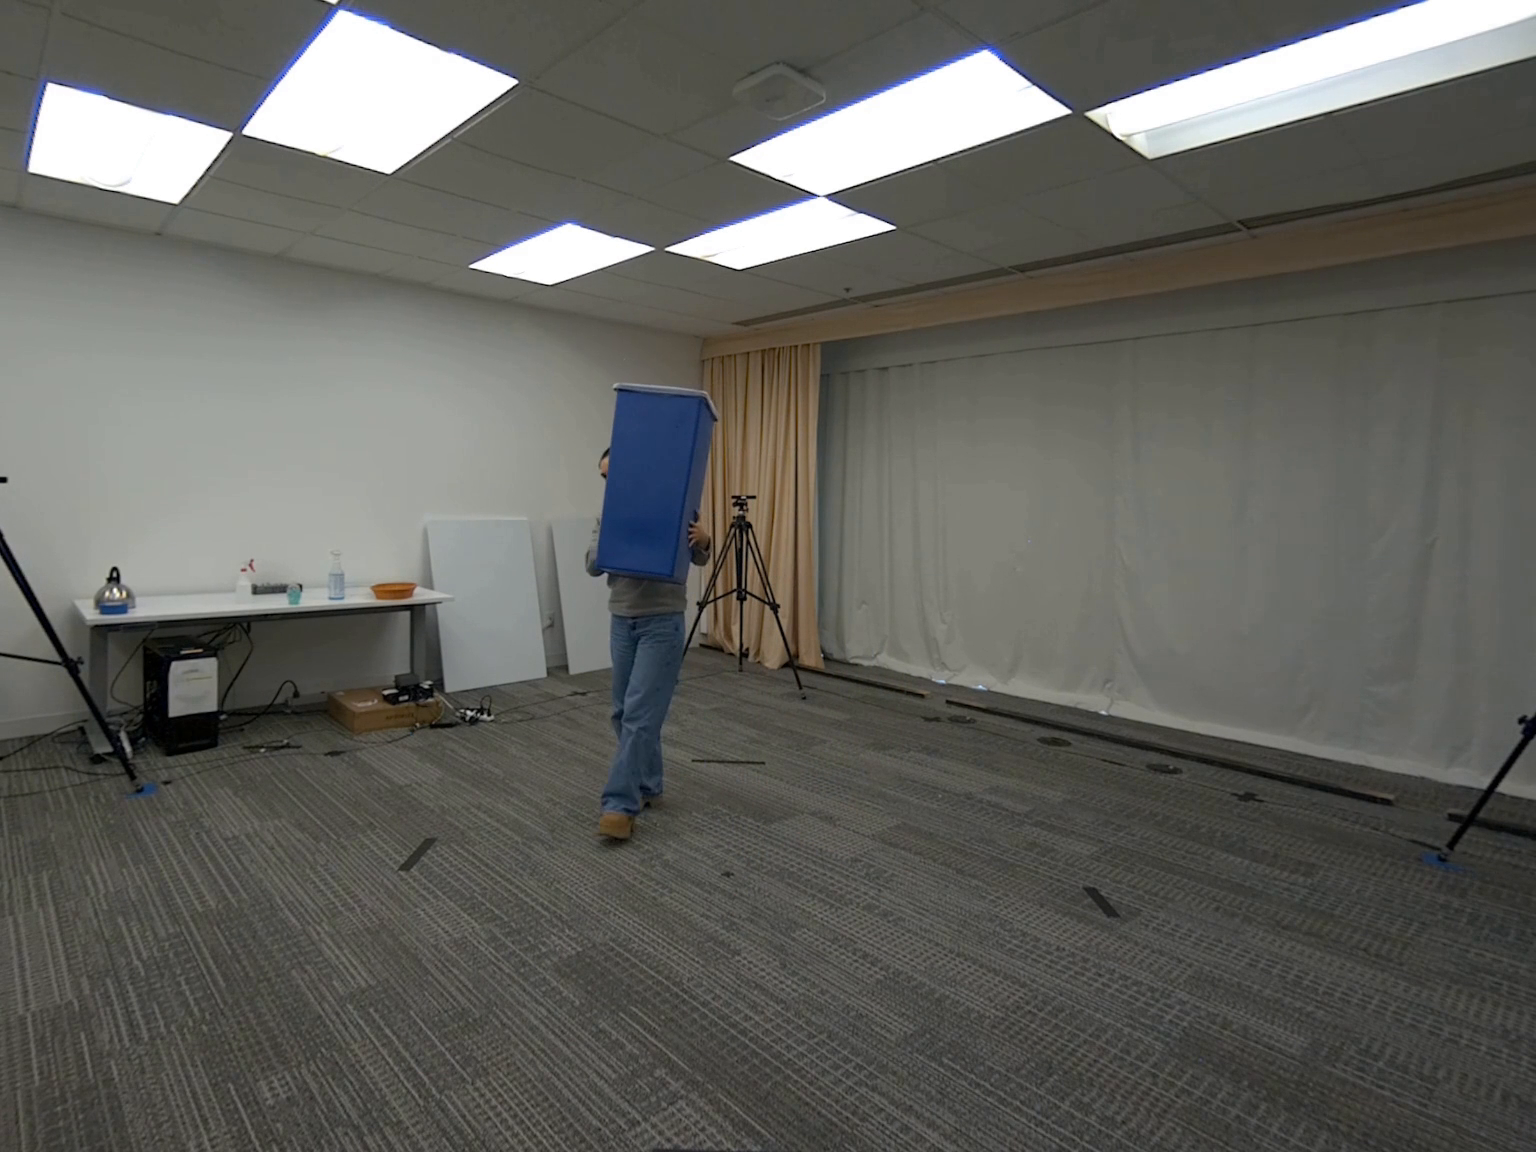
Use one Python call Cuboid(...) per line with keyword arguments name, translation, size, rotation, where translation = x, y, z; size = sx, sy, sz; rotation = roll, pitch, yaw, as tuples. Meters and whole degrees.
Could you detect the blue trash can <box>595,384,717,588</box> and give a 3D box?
Cuboid(name="blue trash can", translation=(-0.447, -0.351, 3.312), size=(0.381, 0.716, 0.369), rotation=(6, -6, 10))
